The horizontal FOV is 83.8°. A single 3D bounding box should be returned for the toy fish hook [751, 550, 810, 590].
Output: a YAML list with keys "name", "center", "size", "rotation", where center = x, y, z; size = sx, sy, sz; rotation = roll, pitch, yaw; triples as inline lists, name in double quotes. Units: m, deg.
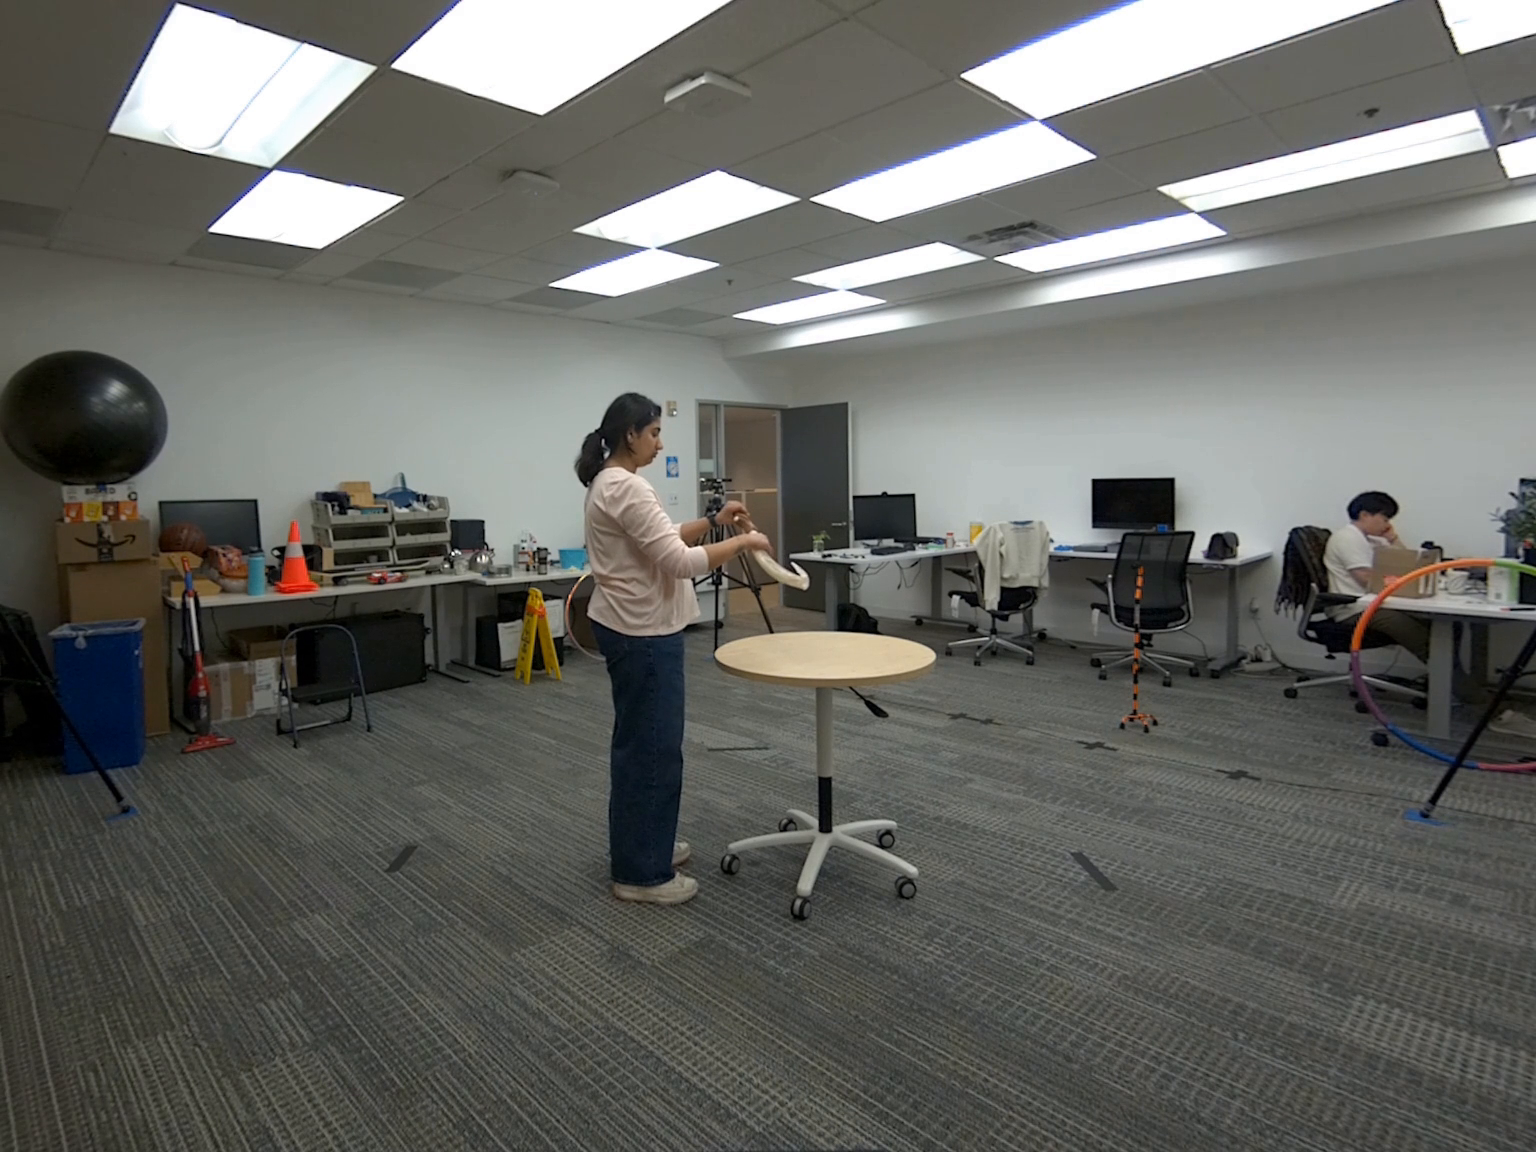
- name: "toy fish hook"
  center: [-0.006, -0.099, 3.011]
  size: [0.217, 0.048, 0.525]
  rotation: [27, 18, -33]
